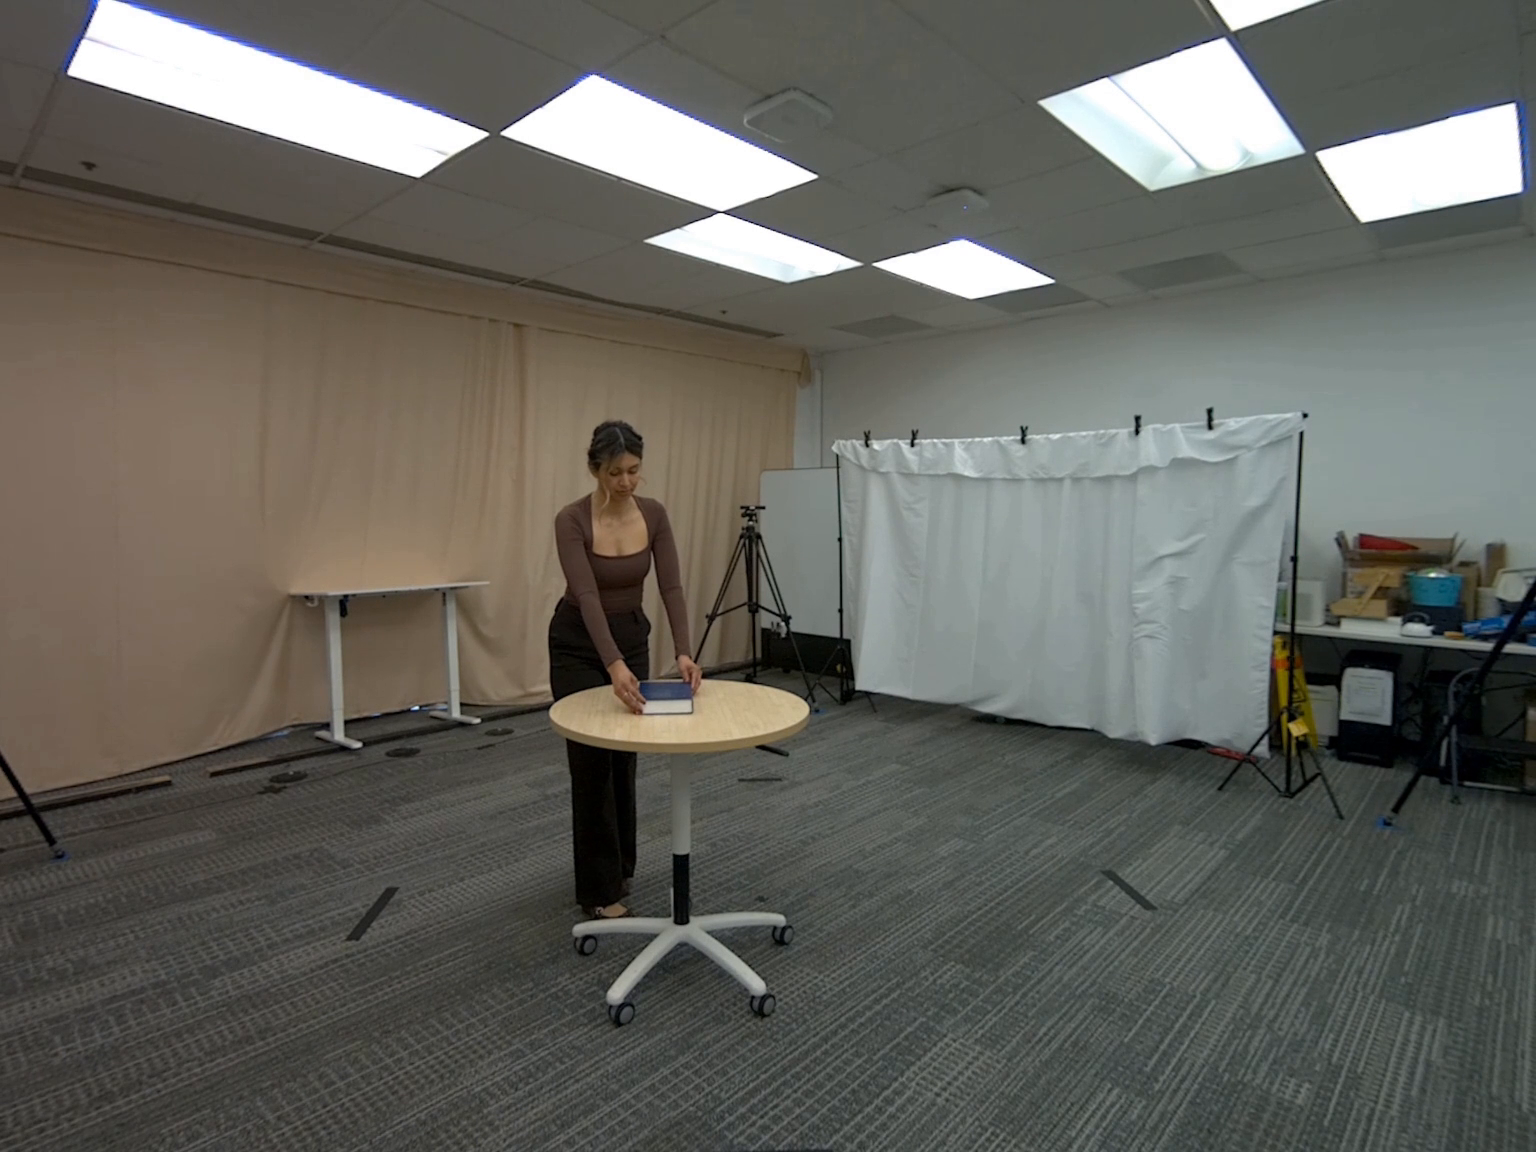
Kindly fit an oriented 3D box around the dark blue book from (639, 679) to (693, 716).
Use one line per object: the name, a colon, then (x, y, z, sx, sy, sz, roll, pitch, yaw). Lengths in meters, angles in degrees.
dark blue book: (-0.312, 0.371, 2.522, 0.163, 0.045, 0.246, -1, 5, -2)
